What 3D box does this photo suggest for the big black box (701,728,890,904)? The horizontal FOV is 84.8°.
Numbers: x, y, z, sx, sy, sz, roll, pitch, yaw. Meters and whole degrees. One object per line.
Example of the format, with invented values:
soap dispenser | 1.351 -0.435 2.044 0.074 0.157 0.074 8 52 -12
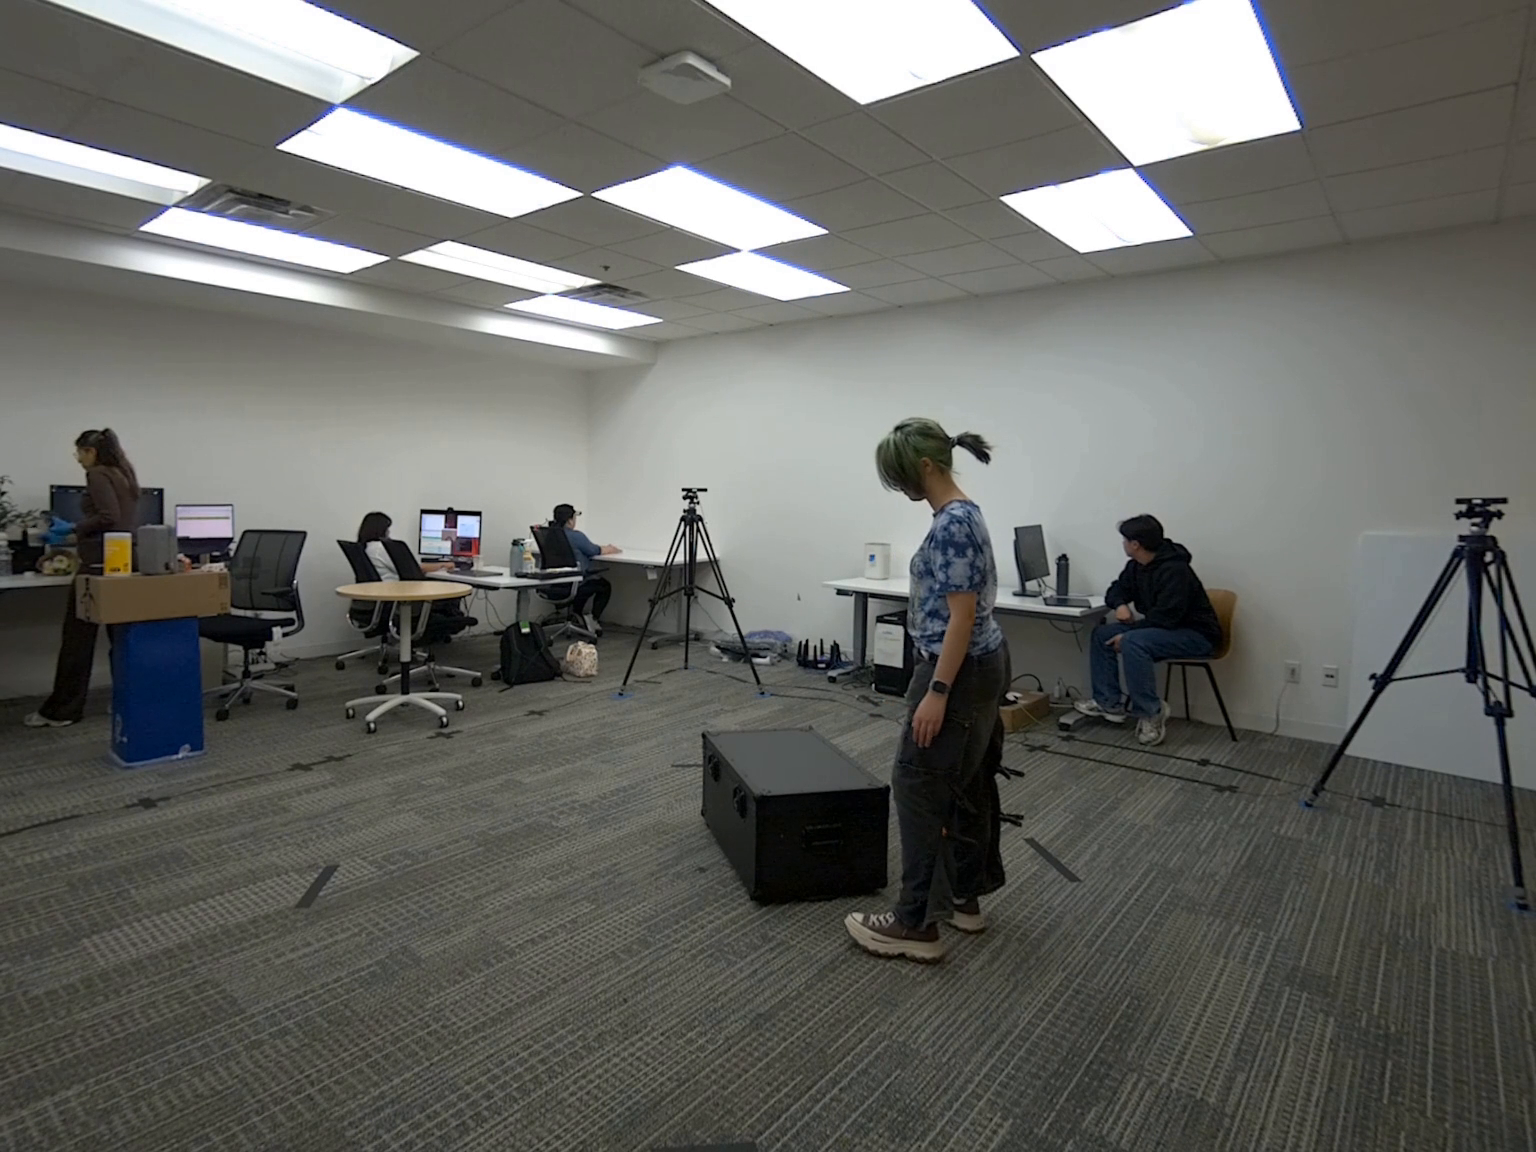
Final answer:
big black box | 0.065 0.872 3.219 0.513 0.395 0.879 -1 5 -16
